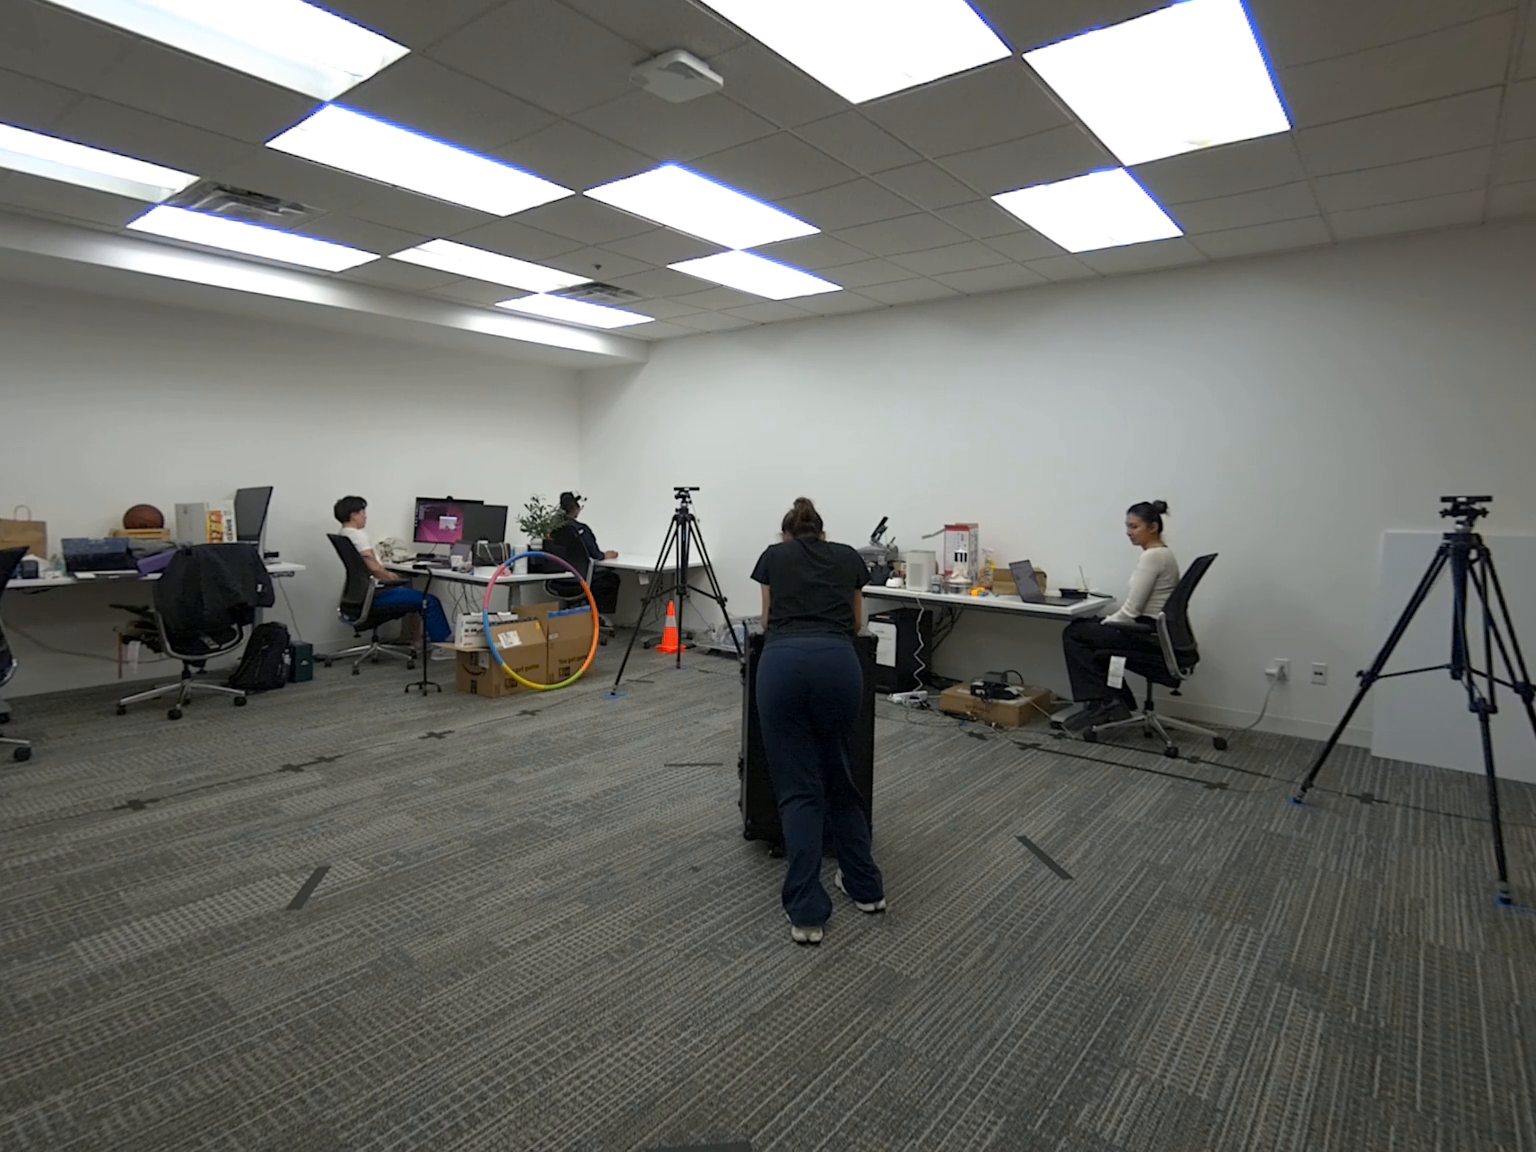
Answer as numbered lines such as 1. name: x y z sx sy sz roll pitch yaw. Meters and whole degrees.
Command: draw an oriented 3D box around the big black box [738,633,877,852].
1. big black box: 0.160 0.558 3.358 0.521 0.860 0.397 1 2 -1
